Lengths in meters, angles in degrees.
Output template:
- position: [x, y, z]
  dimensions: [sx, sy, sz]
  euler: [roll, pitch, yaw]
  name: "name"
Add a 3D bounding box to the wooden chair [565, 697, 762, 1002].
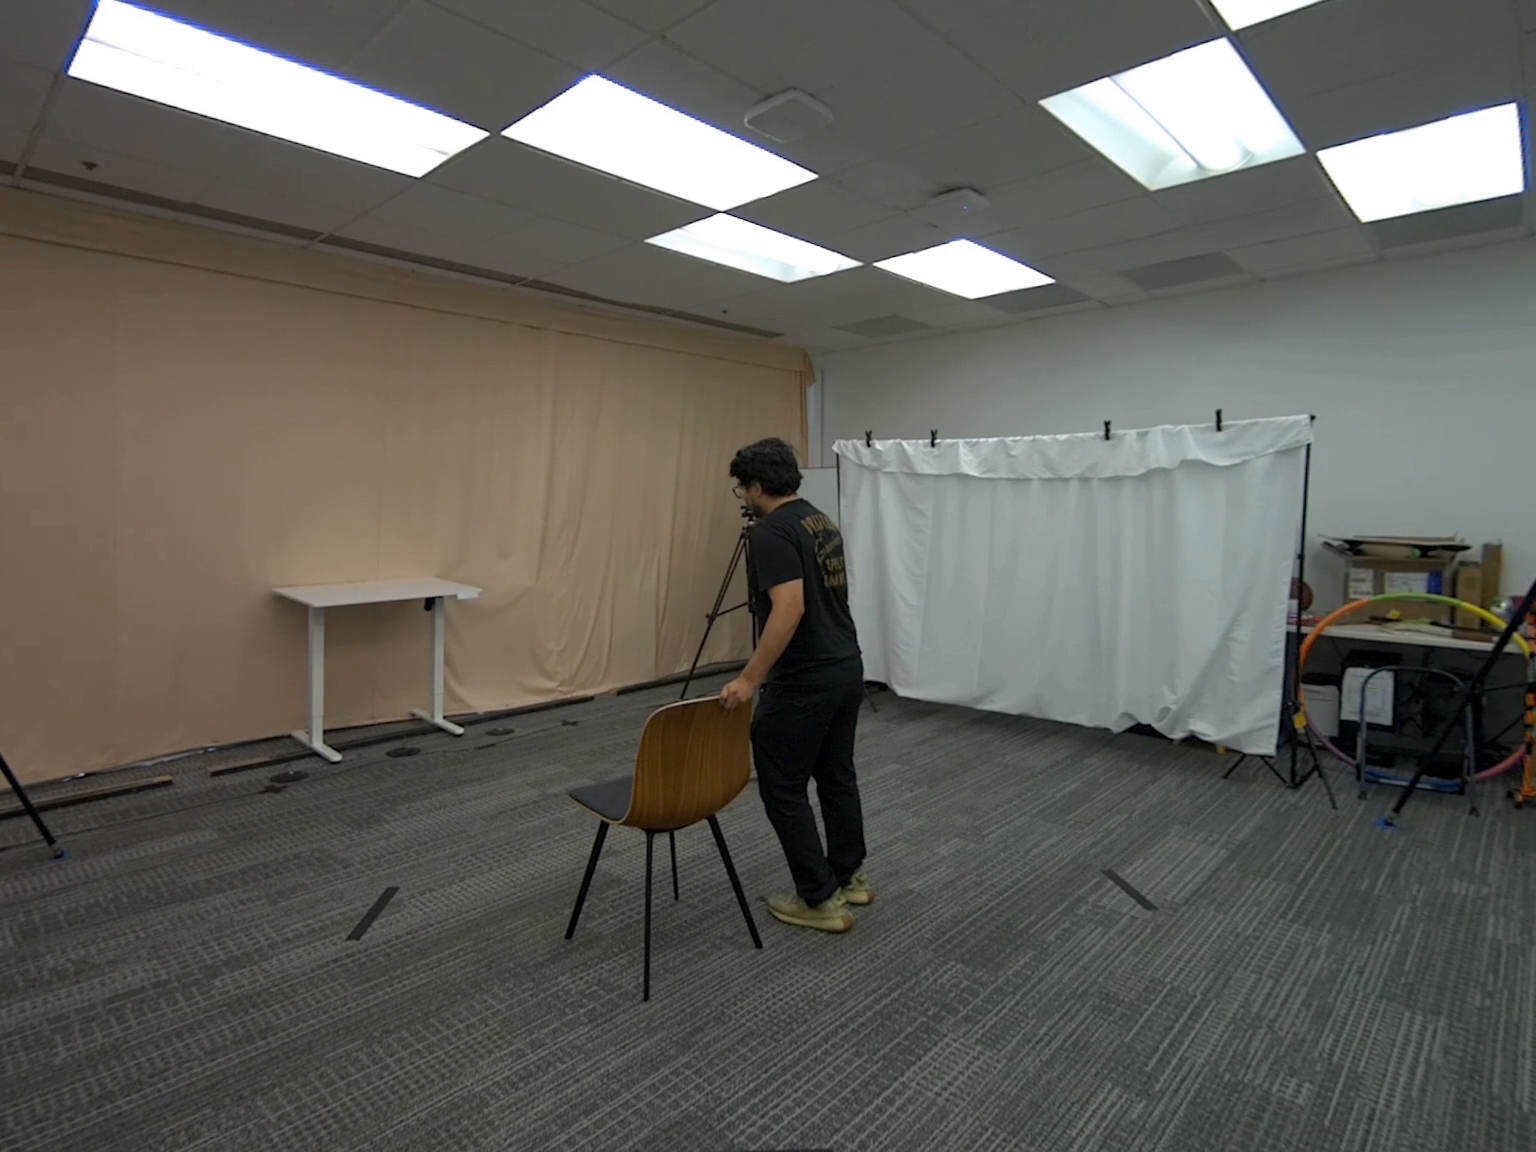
- position: [-0.340, 0.745, 2.662]
  dimensions: [0.463, 0.874, 0.541]
  euler: [-2, 8, -41]
  name: "wooden chair"
